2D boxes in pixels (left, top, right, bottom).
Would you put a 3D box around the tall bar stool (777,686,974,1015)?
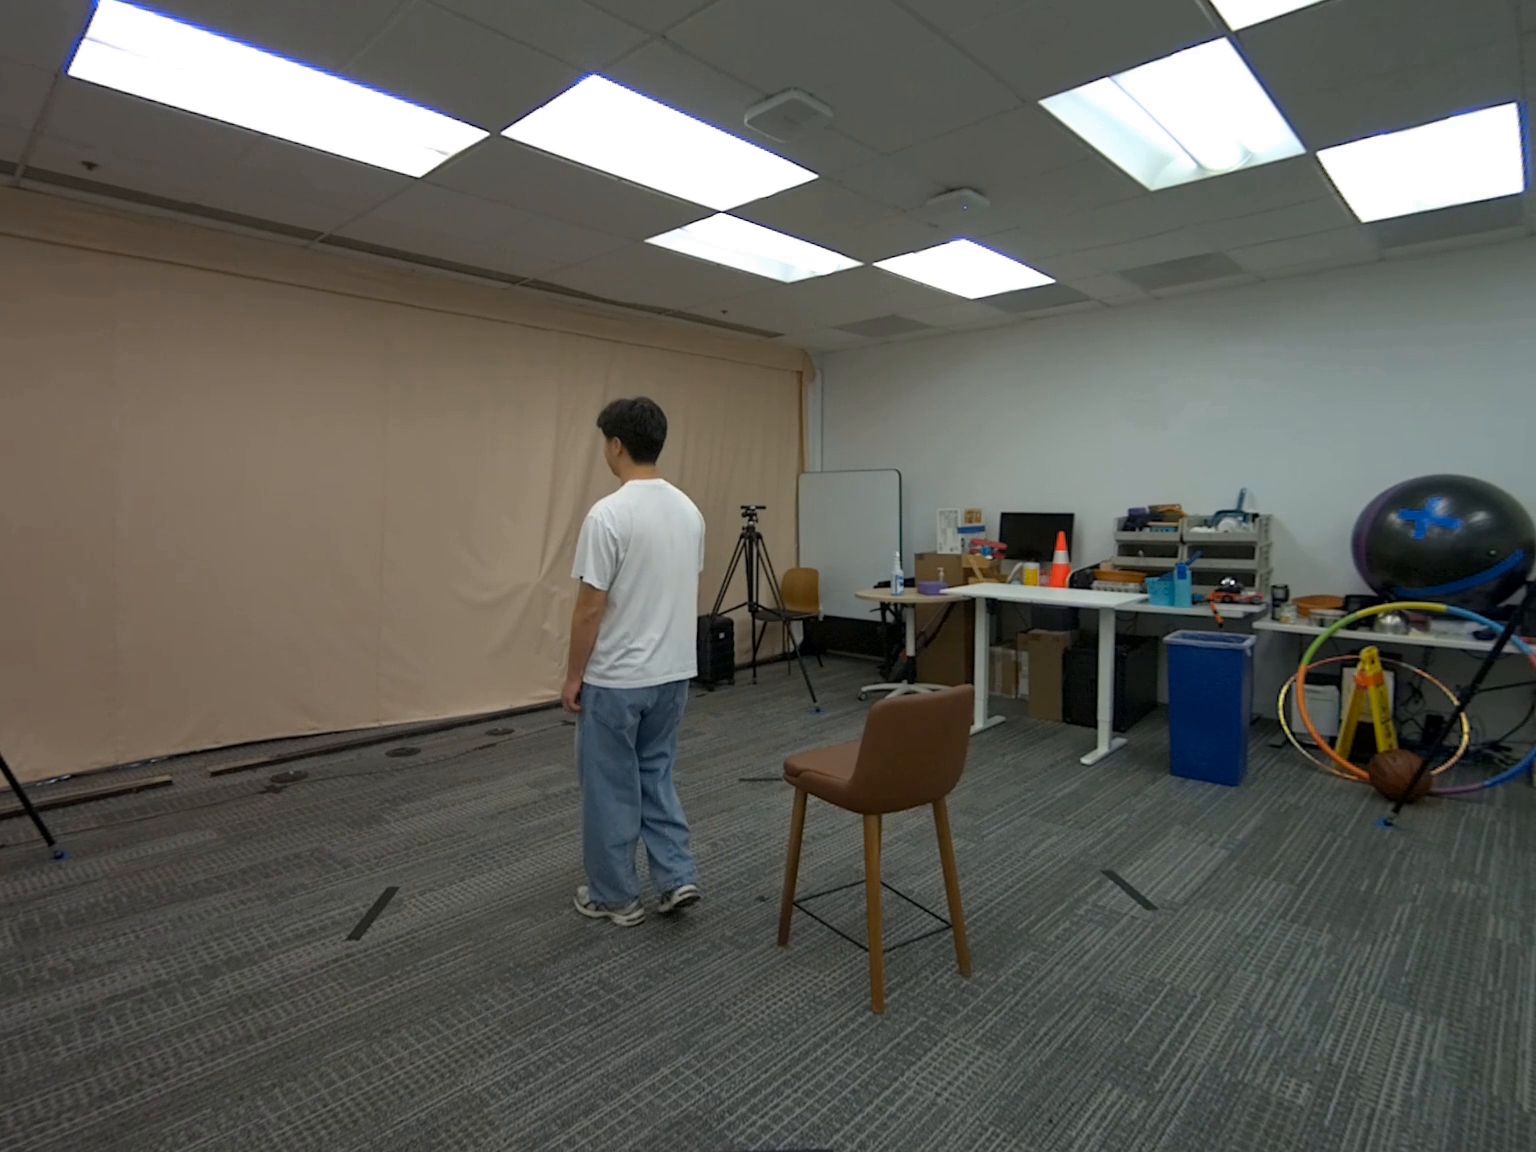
[{"bbox_3d":[0.330,0.740,2.561,0.443,0.887,0.482,-2,5,-34],"label":"tall bar stool"}]
